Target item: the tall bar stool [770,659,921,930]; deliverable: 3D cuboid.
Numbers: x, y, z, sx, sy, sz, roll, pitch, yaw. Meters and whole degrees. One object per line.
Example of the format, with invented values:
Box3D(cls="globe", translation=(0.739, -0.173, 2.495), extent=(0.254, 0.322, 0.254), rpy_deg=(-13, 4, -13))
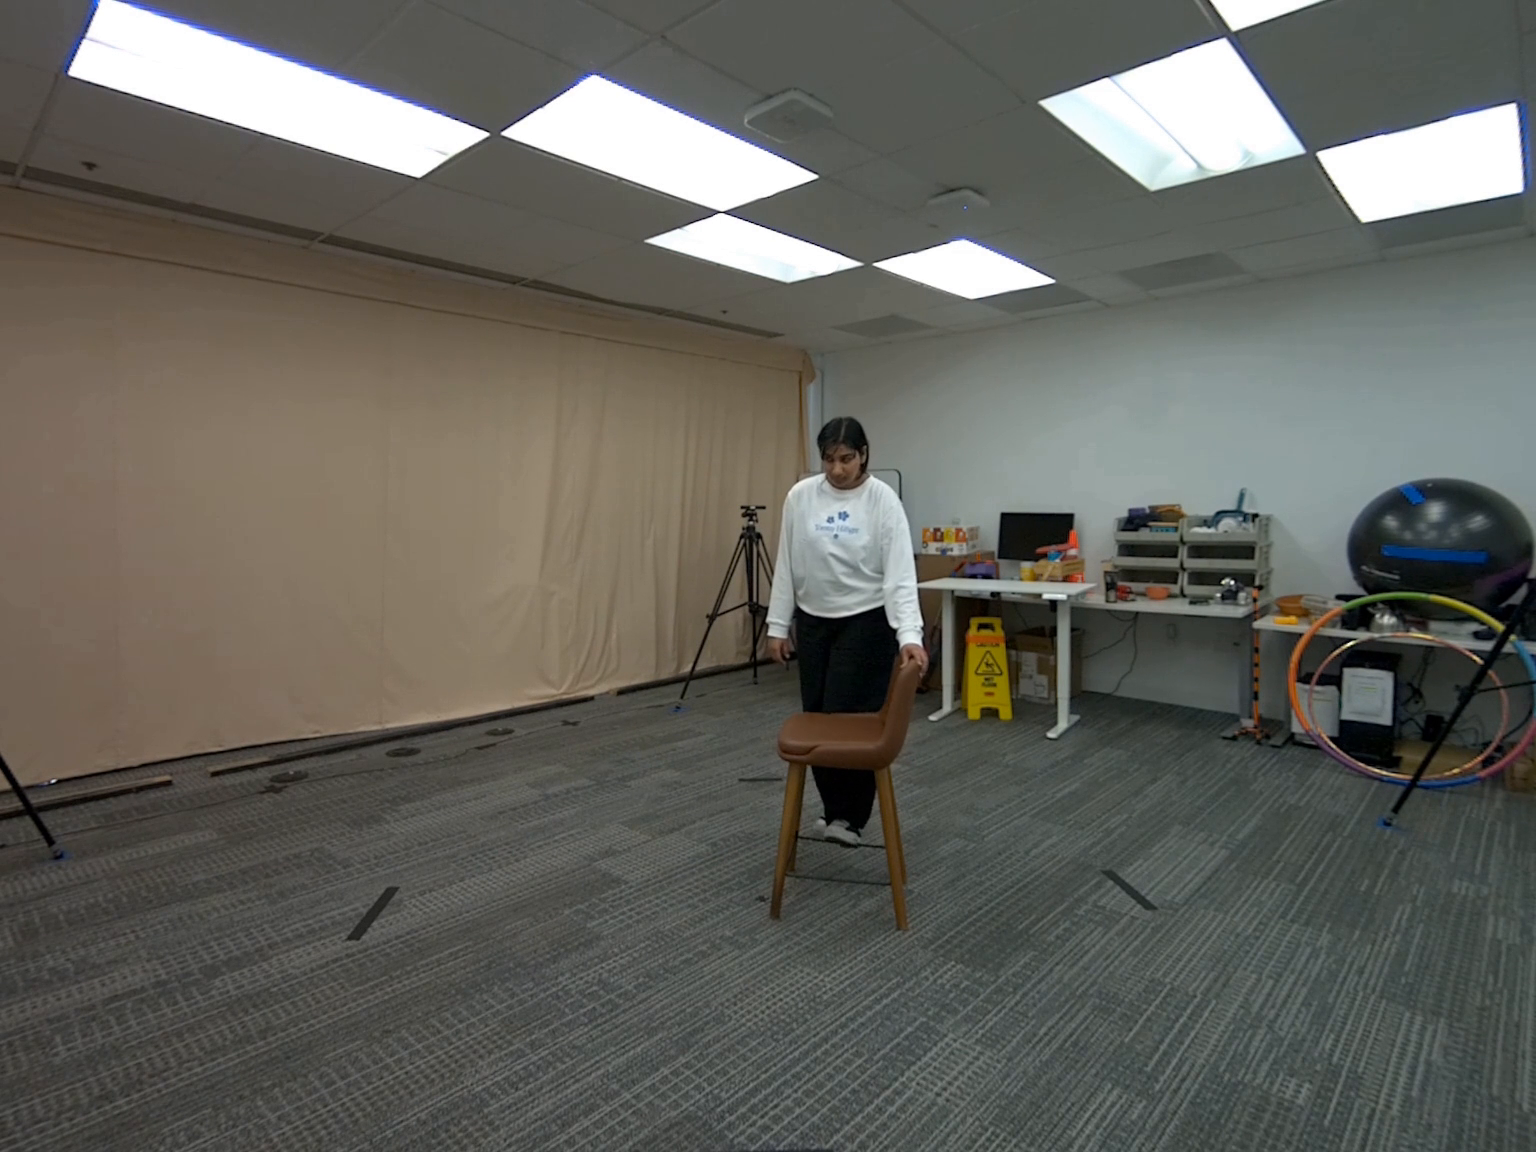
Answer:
Box3D(cls="tall bar stool", translation=(0.274, 0.705, 2.958), extent=(0.474, 0.888, 0.451), rpy_deg=(3, 3, 12))
